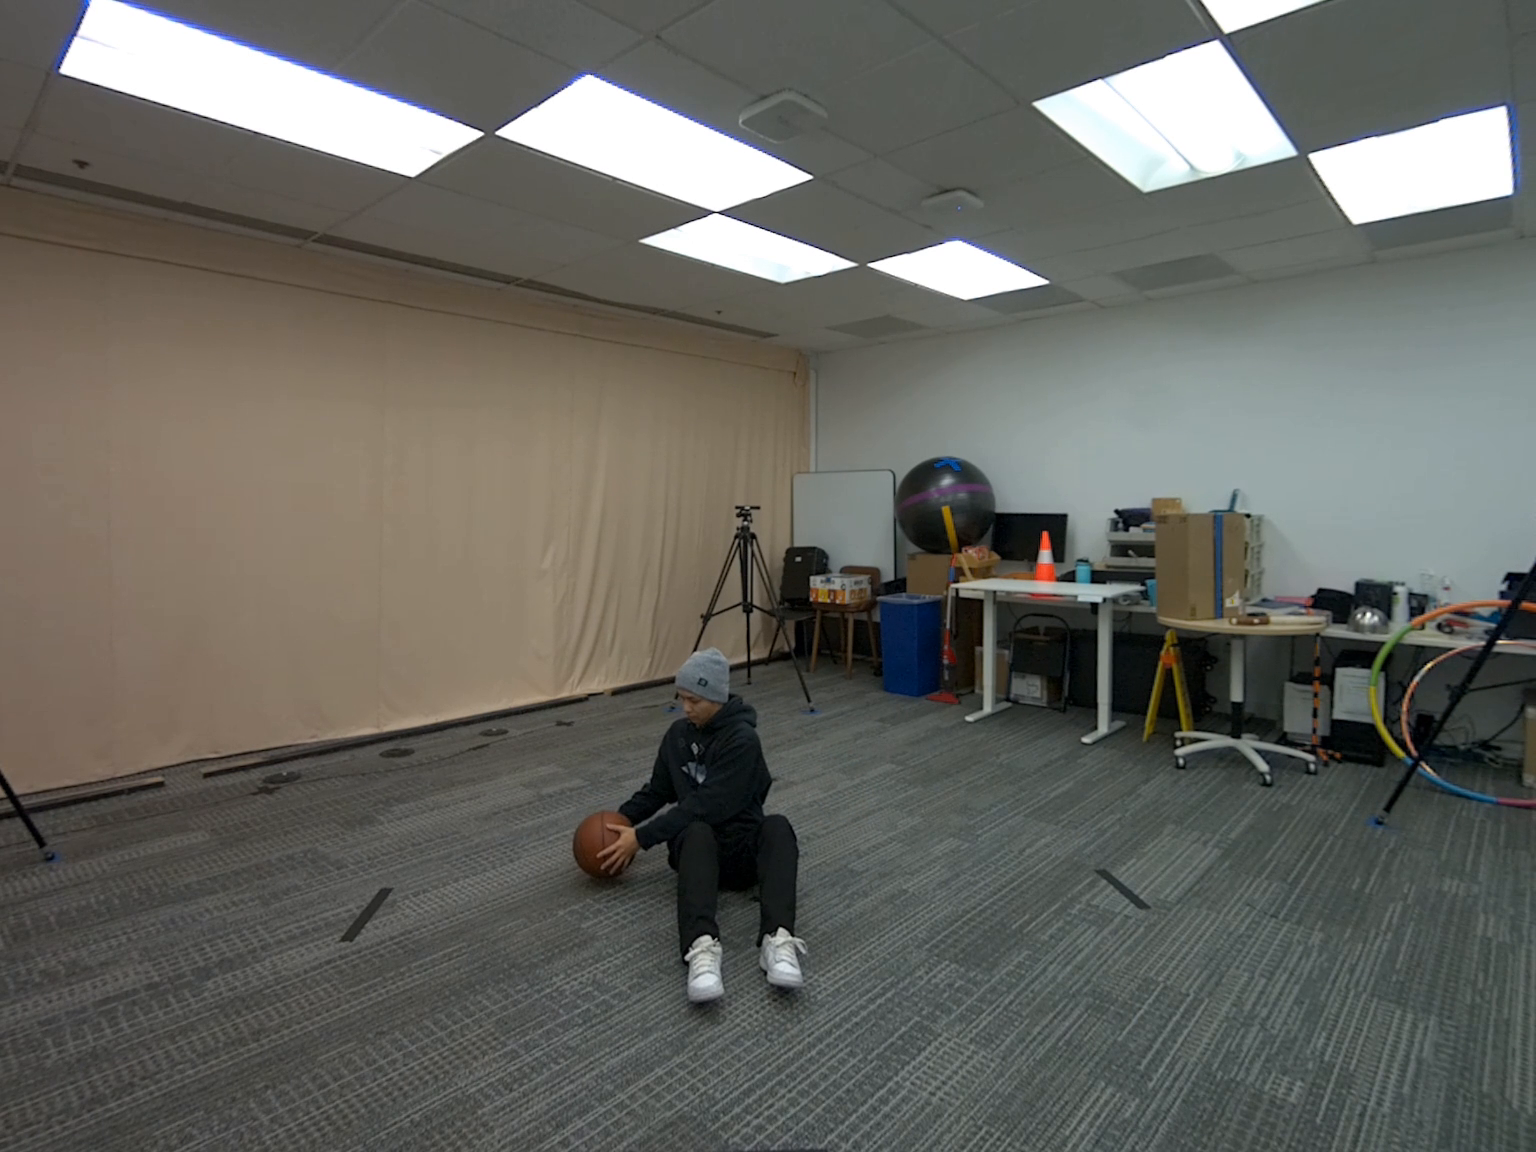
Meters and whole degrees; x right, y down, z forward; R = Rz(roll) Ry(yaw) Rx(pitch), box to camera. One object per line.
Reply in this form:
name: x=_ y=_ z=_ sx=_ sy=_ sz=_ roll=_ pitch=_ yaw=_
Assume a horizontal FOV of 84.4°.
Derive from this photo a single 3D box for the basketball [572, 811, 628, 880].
basketball: x=-0.599 y=0.992 z=3.110 sx=0.236 sy=0.235 sz=0.237 roll=0 pitch=4 yaw=-2
